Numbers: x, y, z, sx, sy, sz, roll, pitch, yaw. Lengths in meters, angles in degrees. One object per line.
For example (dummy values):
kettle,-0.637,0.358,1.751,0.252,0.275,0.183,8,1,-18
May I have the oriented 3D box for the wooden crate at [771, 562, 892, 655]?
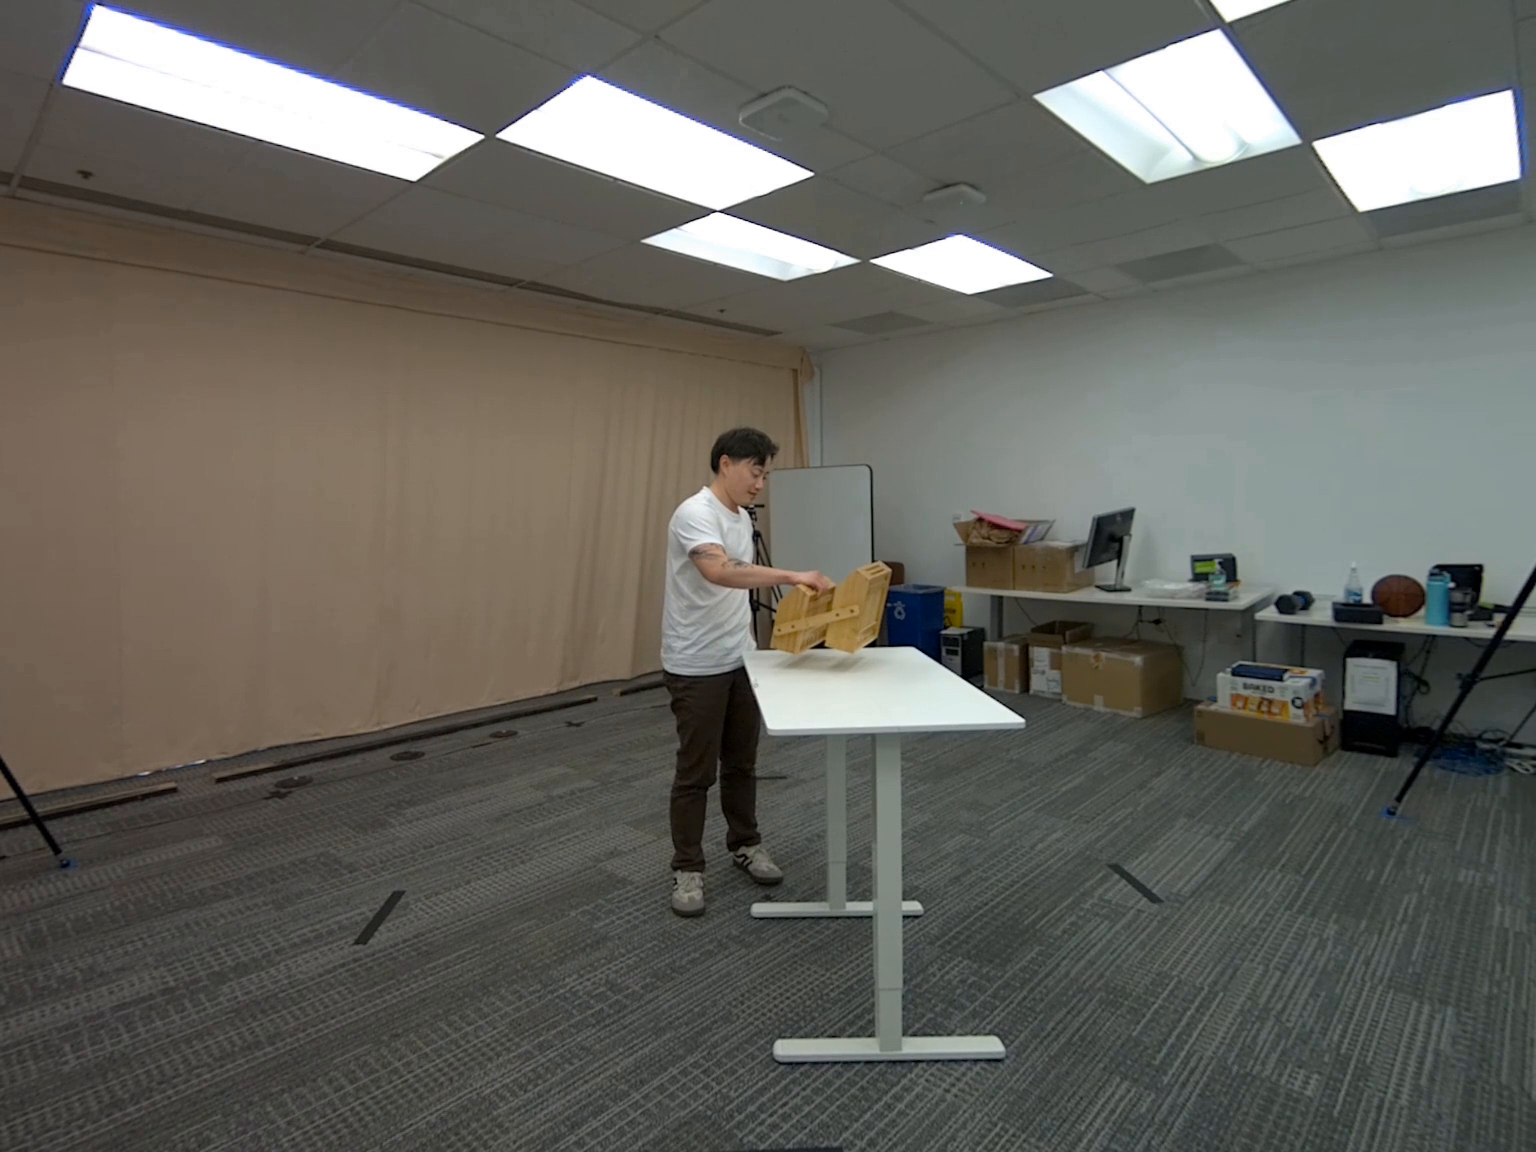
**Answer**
wooden crate,0.207,0.094,2.662,0.280,0.301,0.318,14,9,20
